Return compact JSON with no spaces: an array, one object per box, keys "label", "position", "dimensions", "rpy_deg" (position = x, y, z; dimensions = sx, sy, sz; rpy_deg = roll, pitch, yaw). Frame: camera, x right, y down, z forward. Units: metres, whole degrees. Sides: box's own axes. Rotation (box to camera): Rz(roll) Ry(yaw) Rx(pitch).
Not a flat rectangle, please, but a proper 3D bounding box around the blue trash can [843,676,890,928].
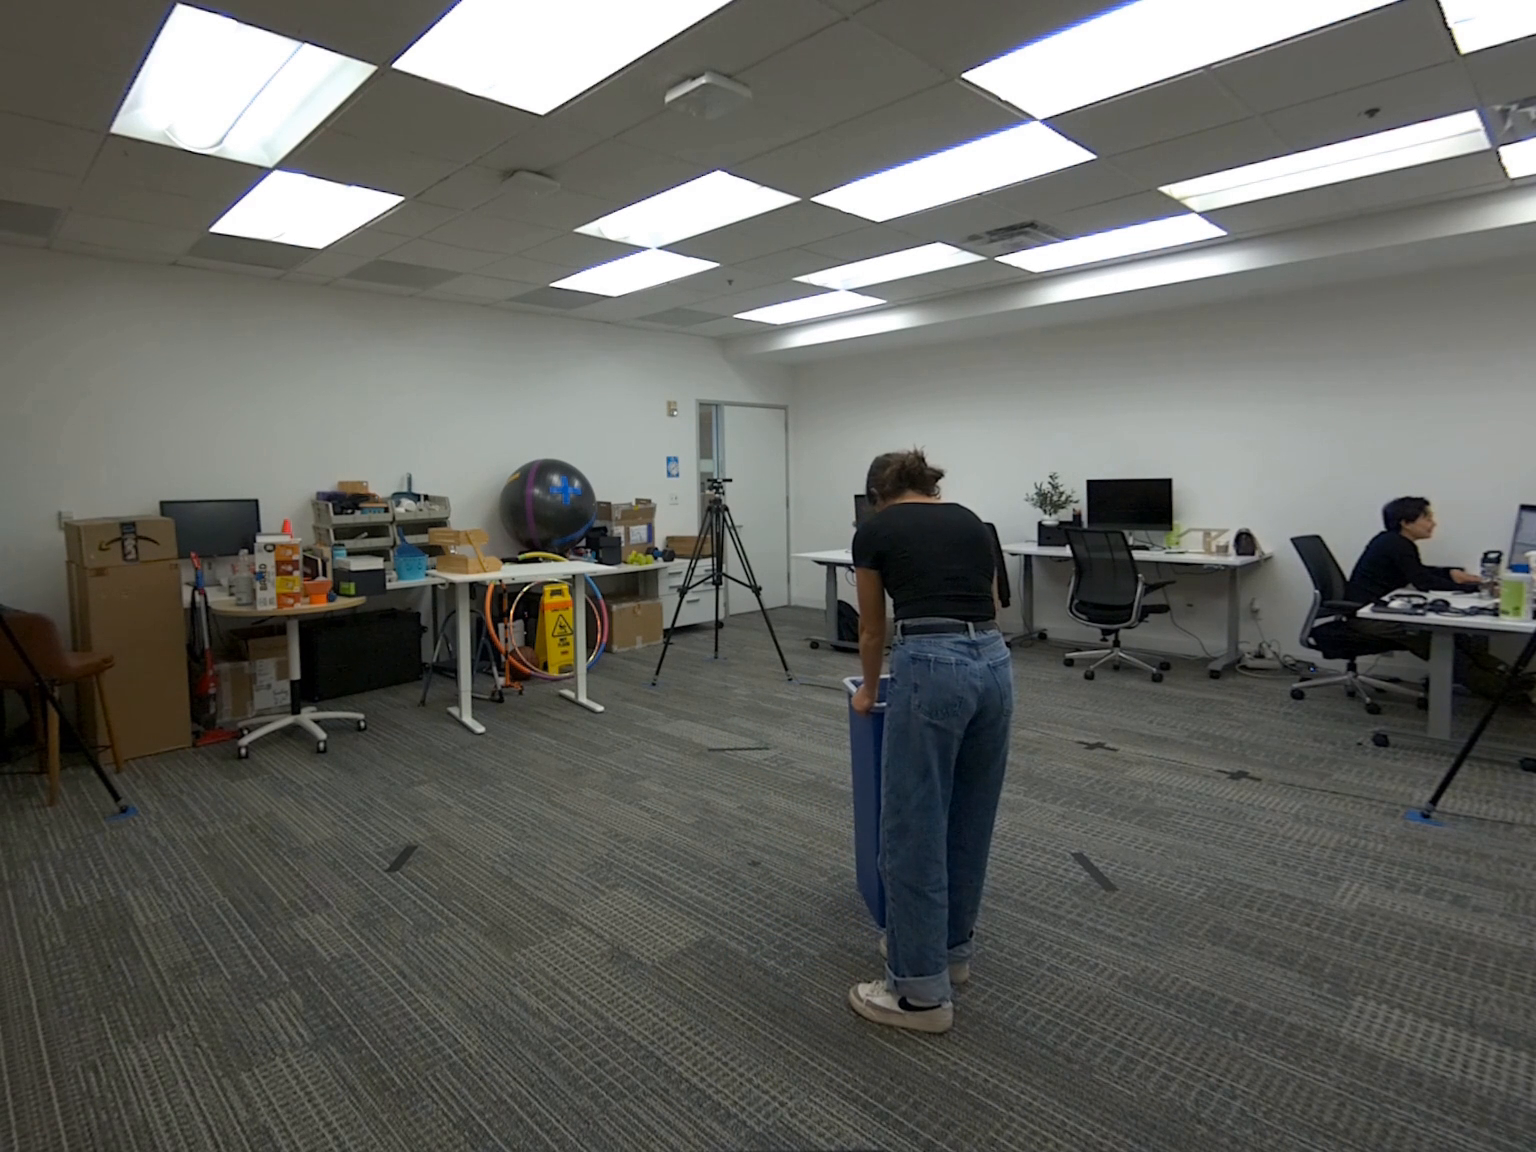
[{"label":"blue trash can","position":[0.466,0.719,2.772],"dimensions":[0.372,0.711,0.381],"rpy_deg":[-1,4,-6]}]
